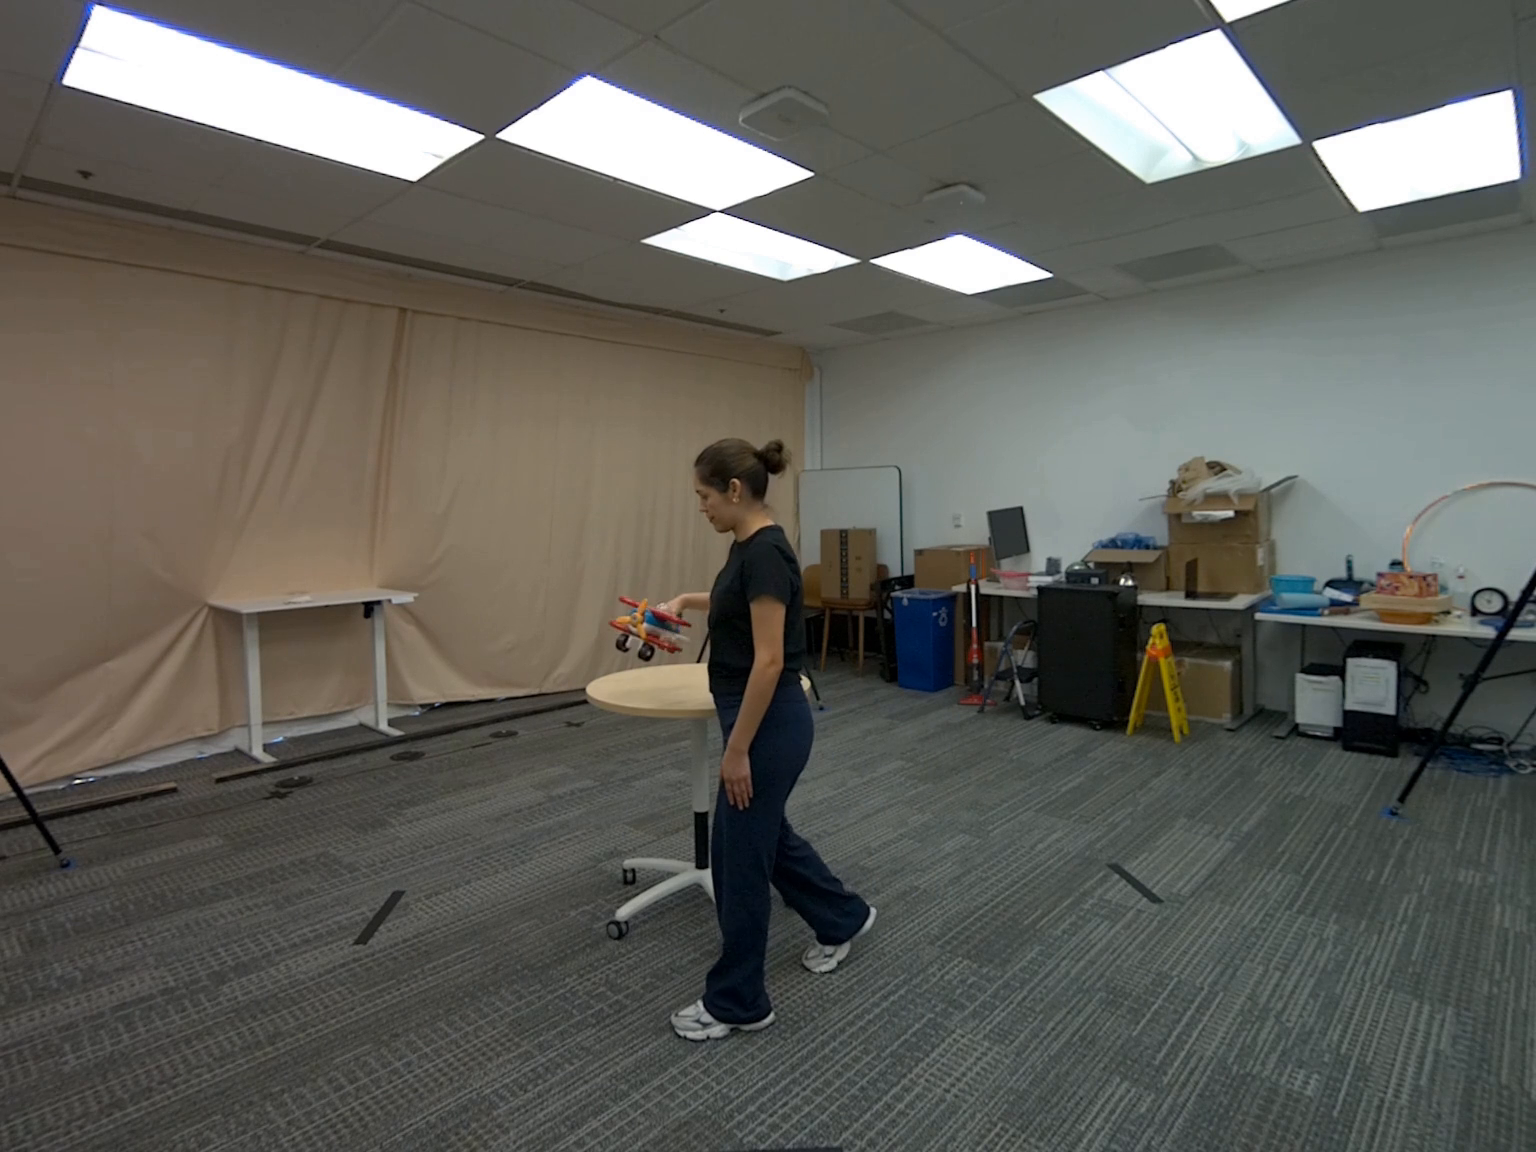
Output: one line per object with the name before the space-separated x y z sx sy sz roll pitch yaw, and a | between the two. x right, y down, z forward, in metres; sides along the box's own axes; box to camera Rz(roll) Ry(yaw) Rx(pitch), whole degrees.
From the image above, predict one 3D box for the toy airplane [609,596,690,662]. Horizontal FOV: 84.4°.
toy airplane | -0.346 0.145 2.582 0.251 0.156 0.260 14 8 -1
